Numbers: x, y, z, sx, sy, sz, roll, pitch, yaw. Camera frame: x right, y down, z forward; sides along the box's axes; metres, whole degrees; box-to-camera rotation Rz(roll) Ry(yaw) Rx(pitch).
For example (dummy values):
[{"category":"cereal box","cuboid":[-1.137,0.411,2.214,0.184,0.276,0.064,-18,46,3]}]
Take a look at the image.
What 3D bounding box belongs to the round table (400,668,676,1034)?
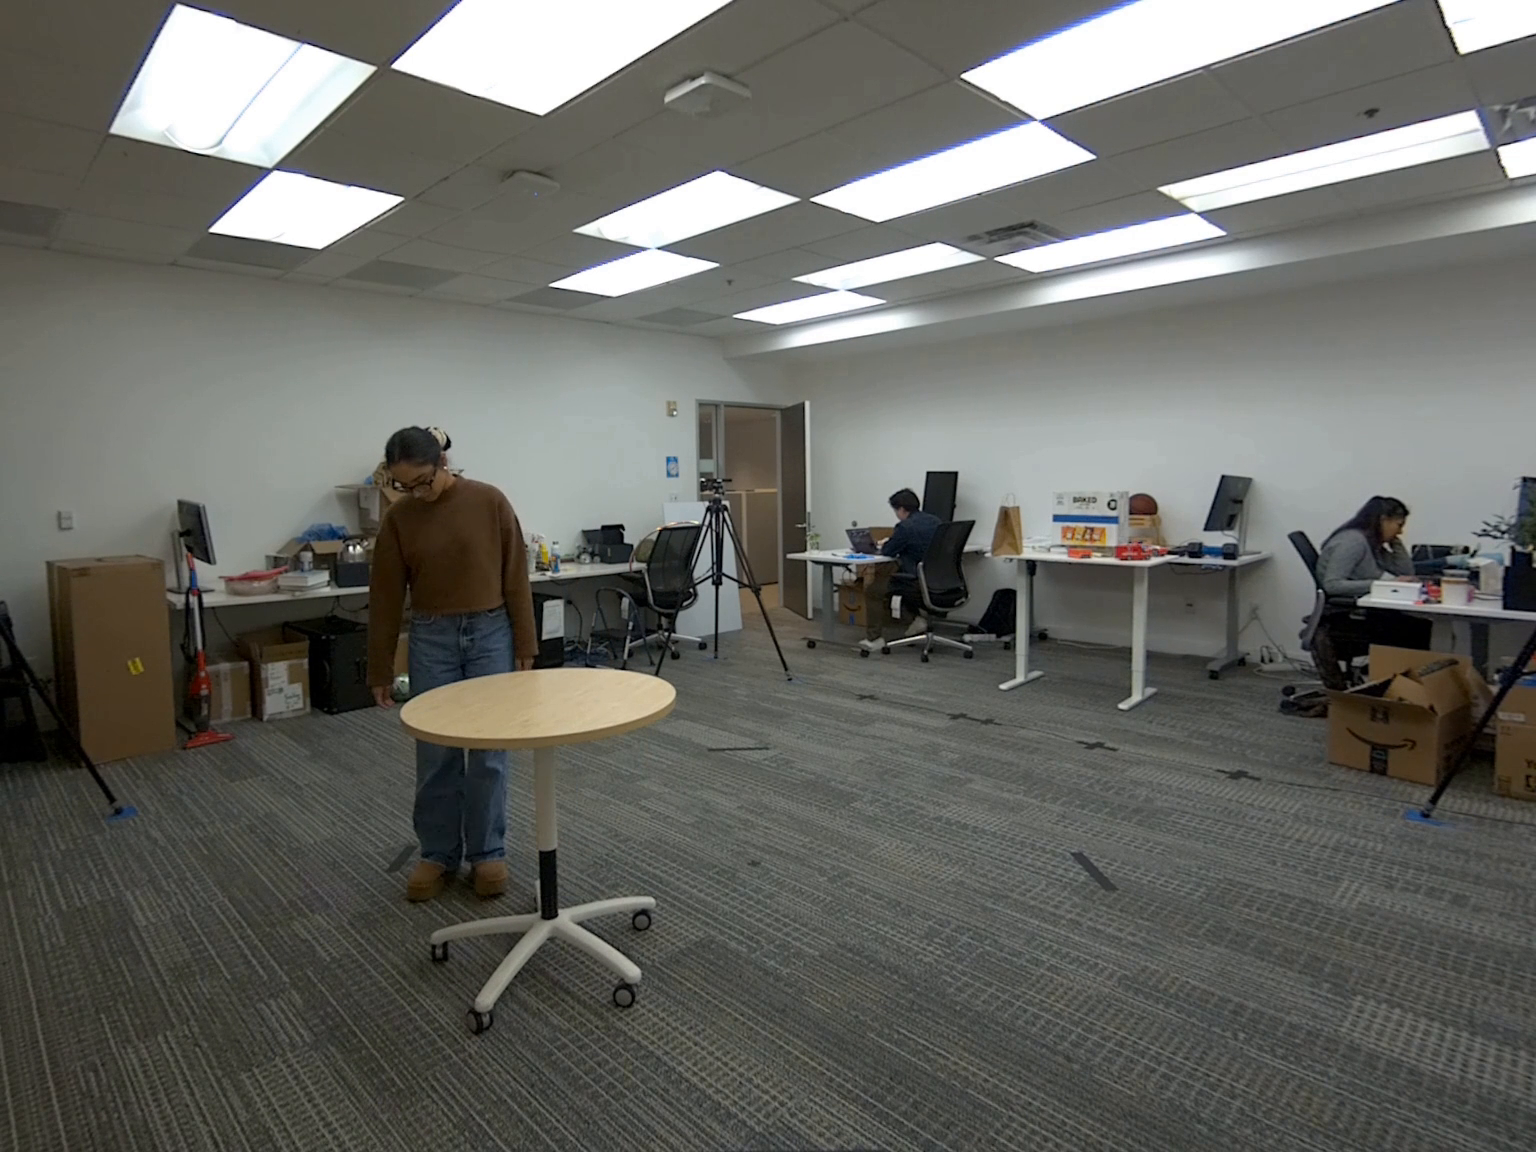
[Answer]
[{"category":"round table","cuboid":[-0.637,0.745,2.464,0.763,0.791,0.768,-2,5,-2]}]
